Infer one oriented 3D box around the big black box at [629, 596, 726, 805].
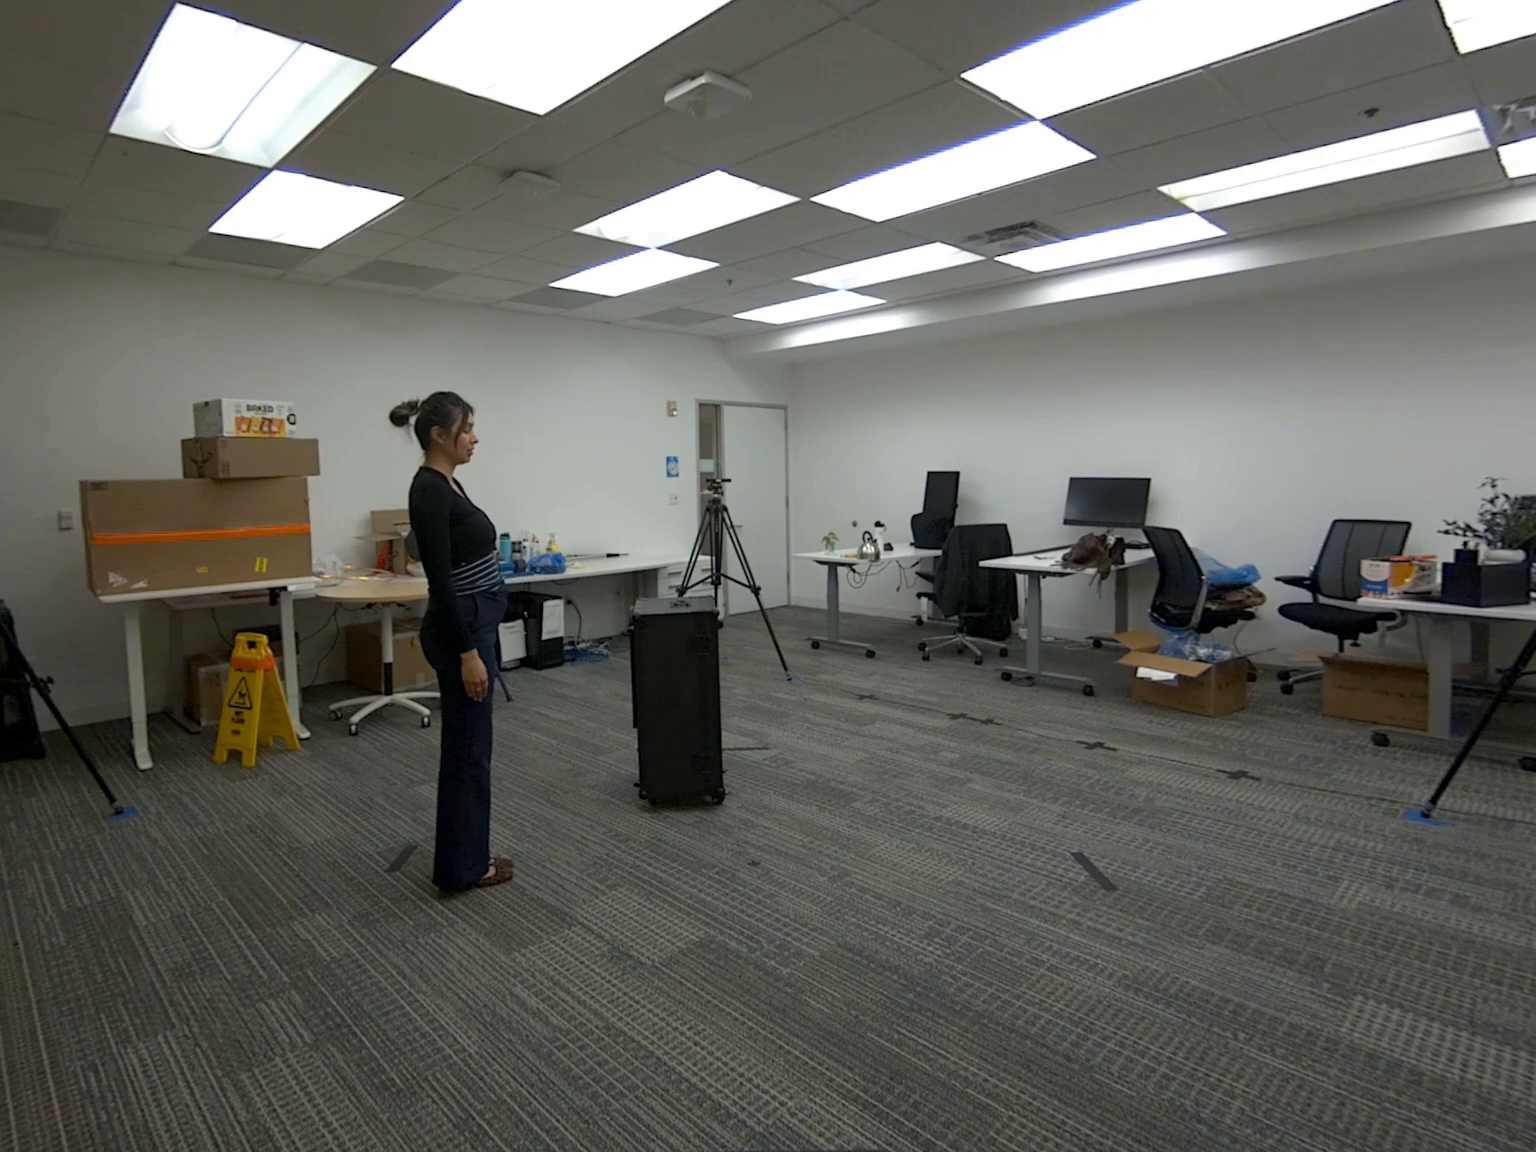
[{"bbox_3d":[-0.410,0.548,3.793,0.395,0.858,0.525,-3,4,-5],"label":"big black box"}]
